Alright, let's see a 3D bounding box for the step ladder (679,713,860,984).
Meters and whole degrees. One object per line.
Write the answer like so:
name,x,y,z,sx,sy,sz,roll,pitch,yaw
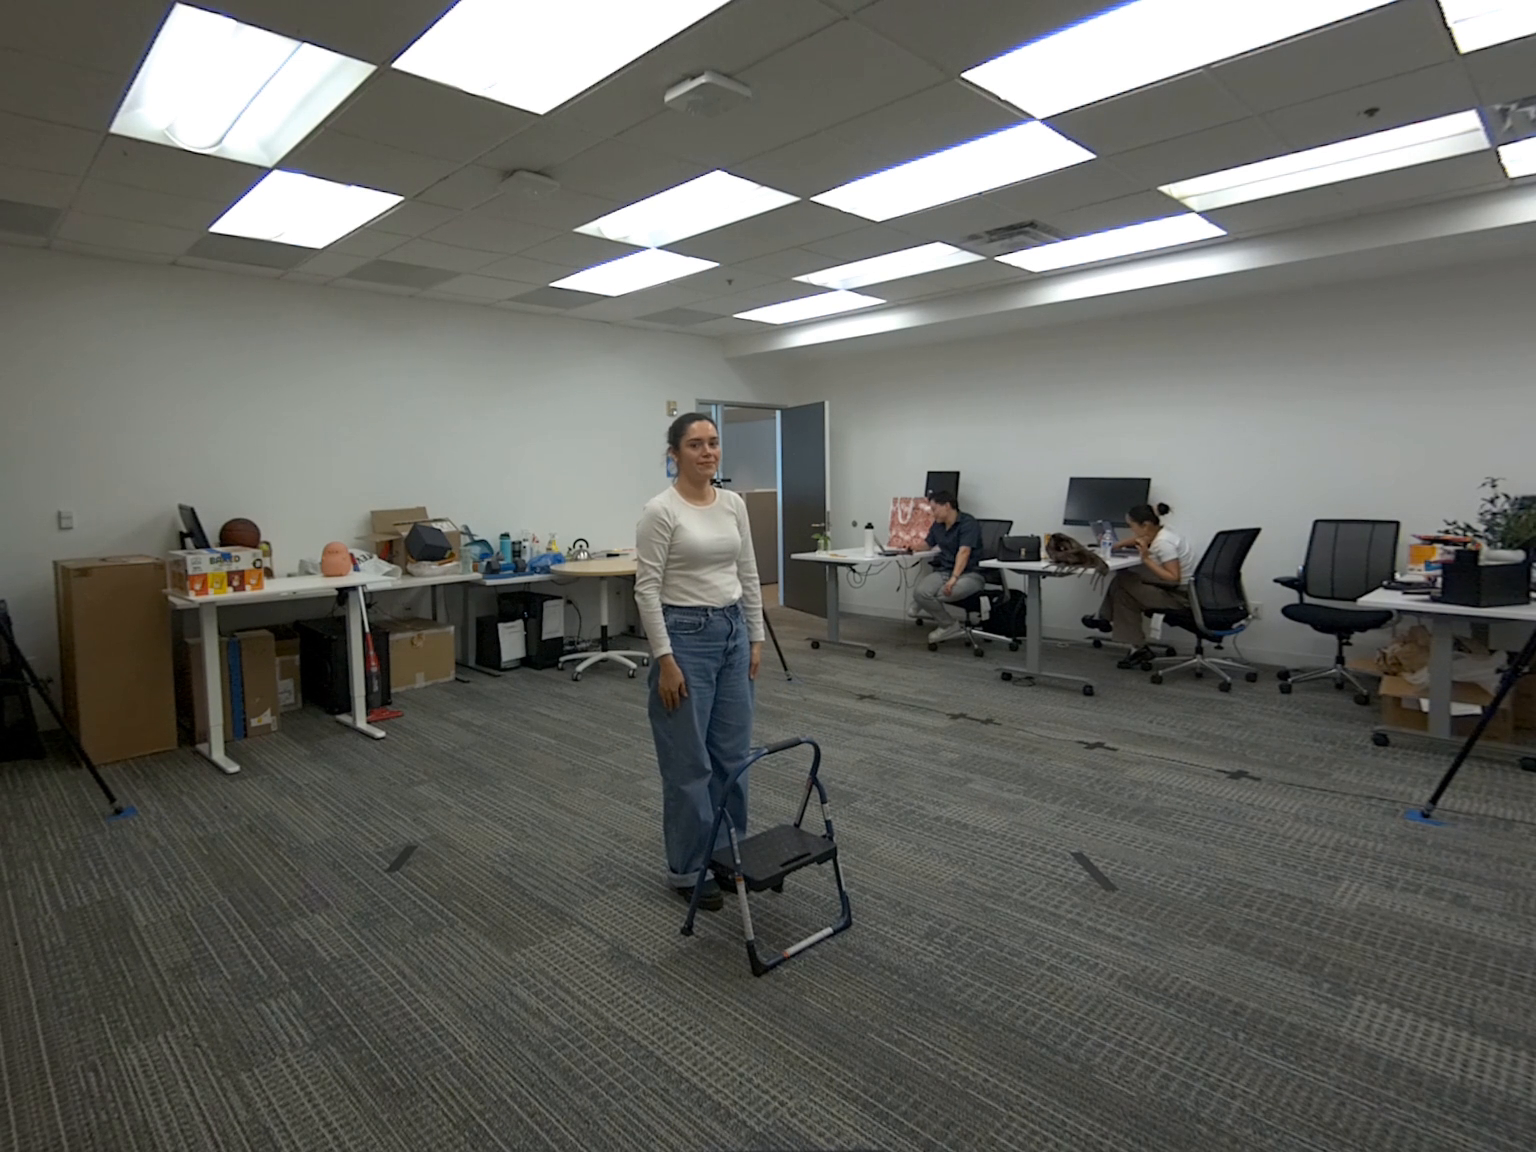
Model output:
step ladder,-0.001,0.797,2.634,0.419,0.603,0.360,-6,7,-43
